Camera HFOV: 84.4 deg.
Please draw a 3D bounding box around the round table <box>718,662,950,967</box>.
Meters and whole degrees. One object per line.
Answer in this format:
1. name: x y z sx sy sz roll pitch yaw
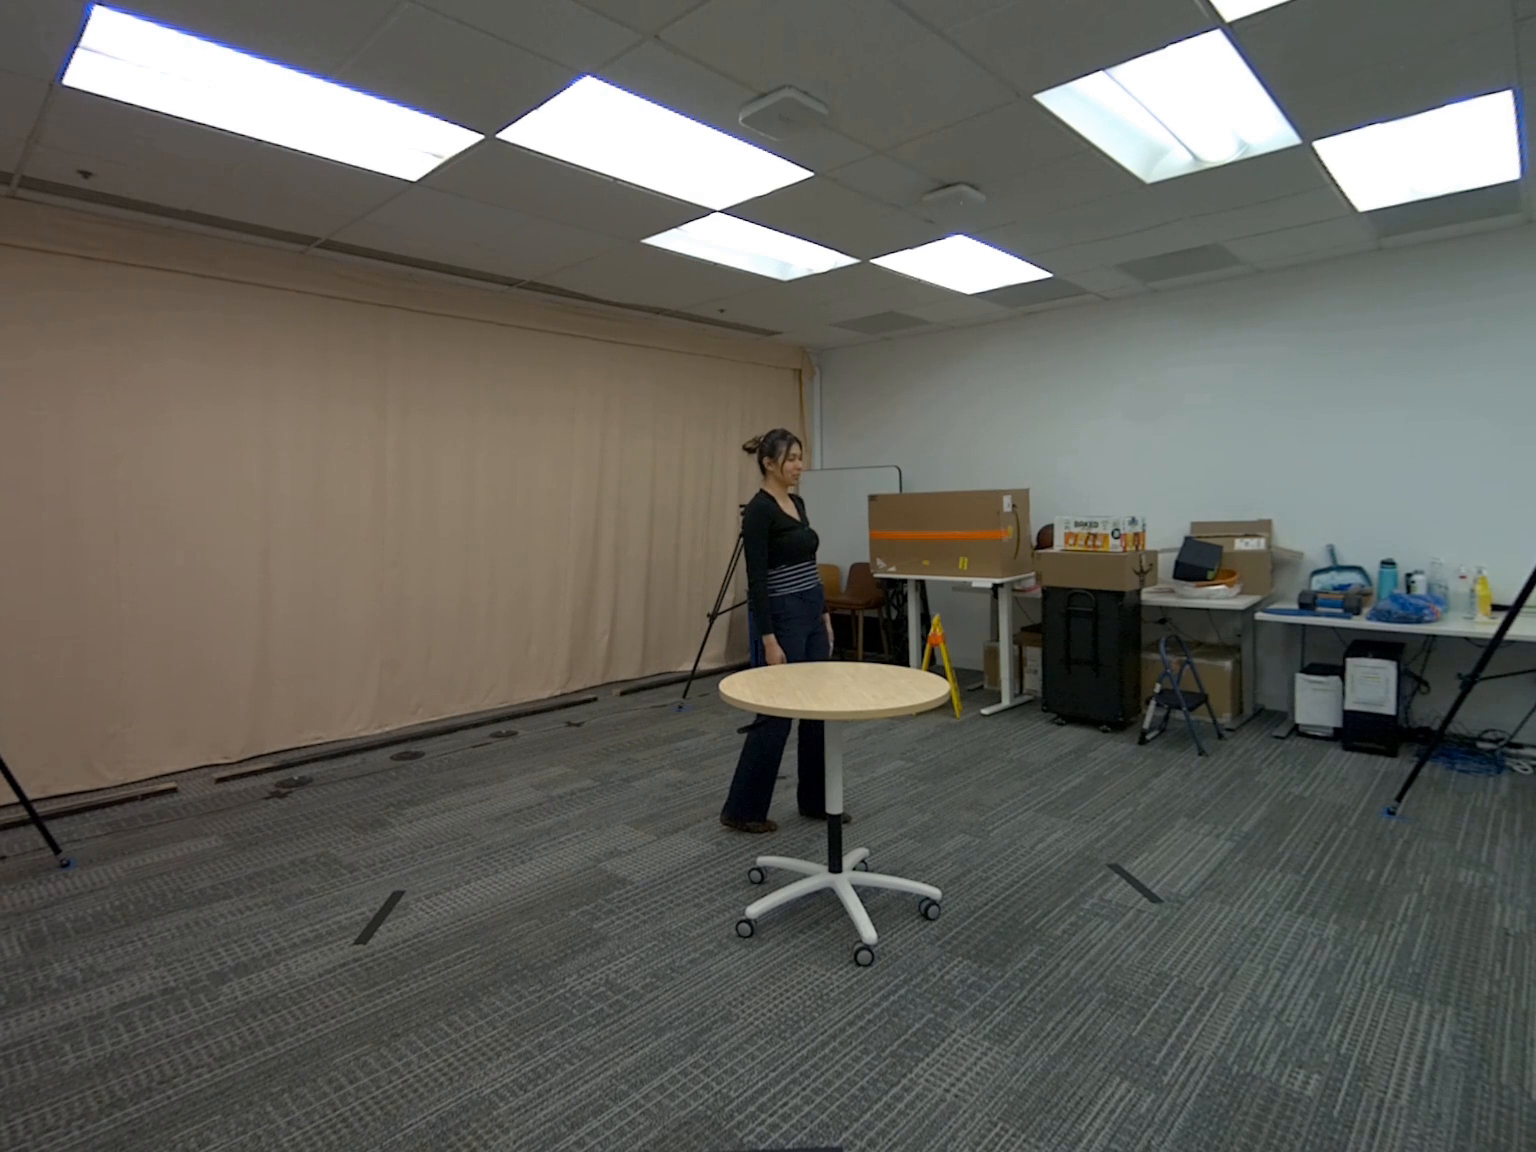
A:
1. round table: 0.226 0.753 2.852 0.763 0.792 0.767 -1 4 -2
